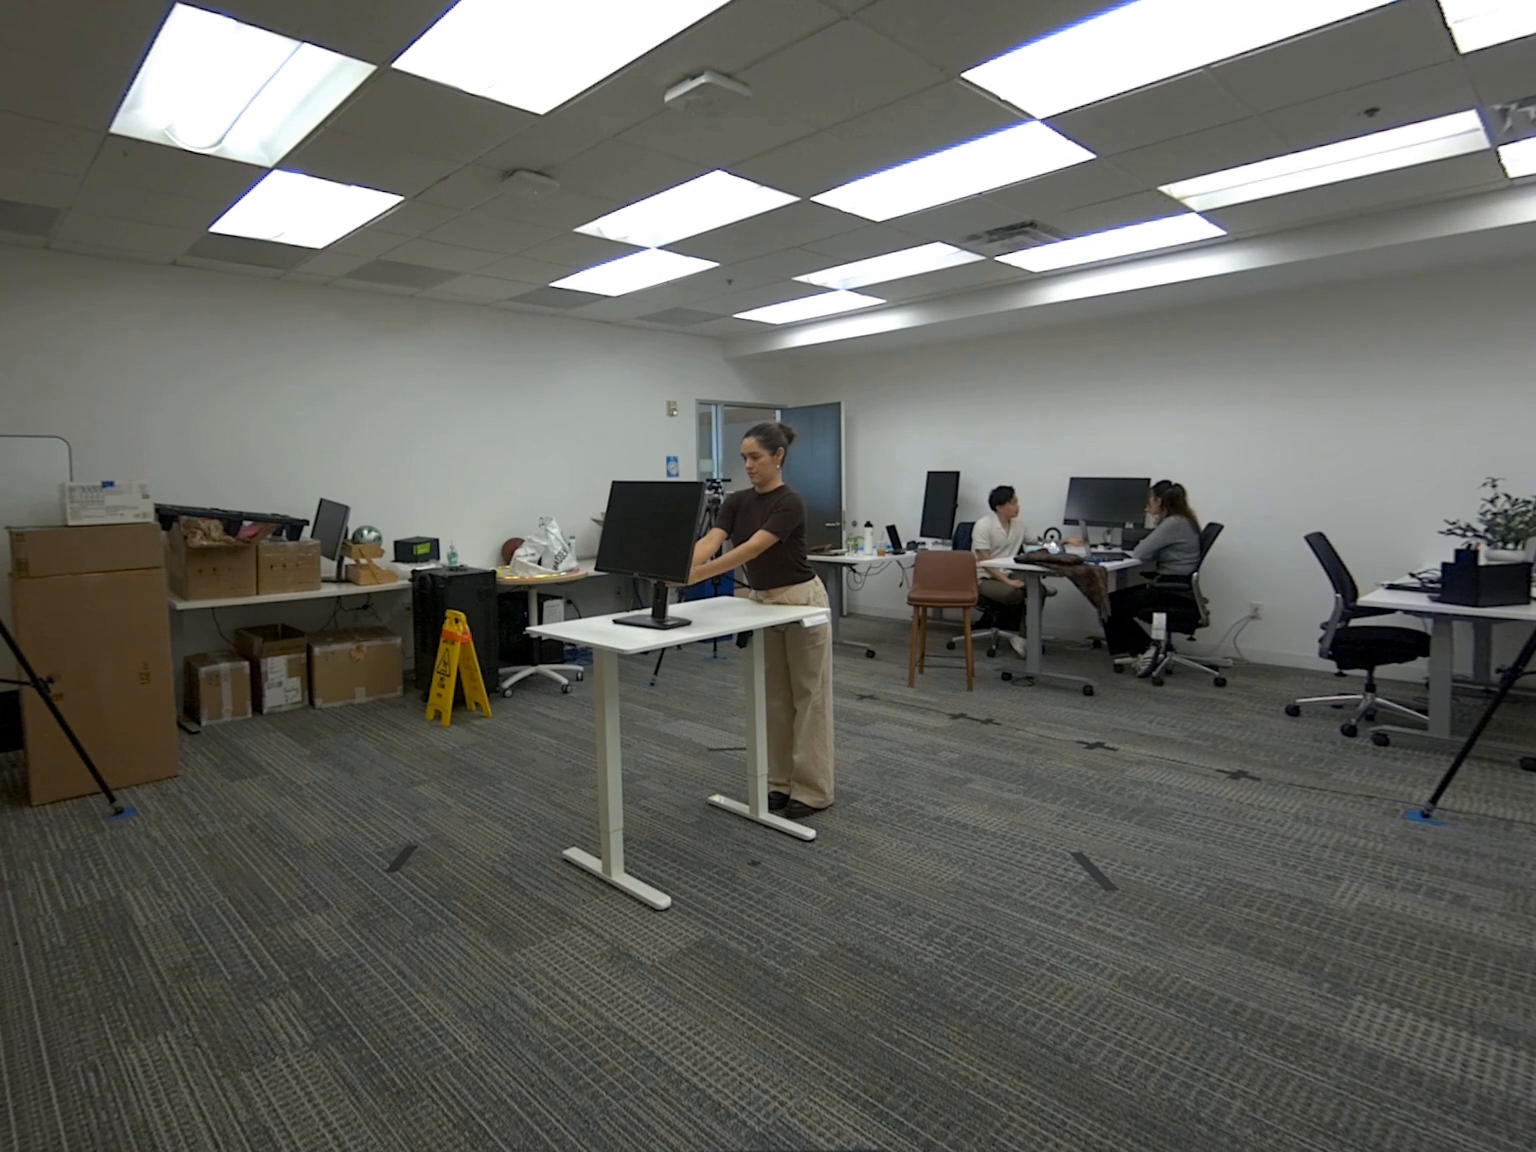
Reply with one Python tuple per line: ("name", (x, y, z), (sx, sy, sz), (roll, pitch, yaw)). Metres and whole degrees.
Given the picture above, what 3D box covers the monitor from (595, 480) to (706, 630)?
("monitor", (-0.412, -0.080, 3.083), (0.556, 0.521, 0.182), (5, 4, 43))
